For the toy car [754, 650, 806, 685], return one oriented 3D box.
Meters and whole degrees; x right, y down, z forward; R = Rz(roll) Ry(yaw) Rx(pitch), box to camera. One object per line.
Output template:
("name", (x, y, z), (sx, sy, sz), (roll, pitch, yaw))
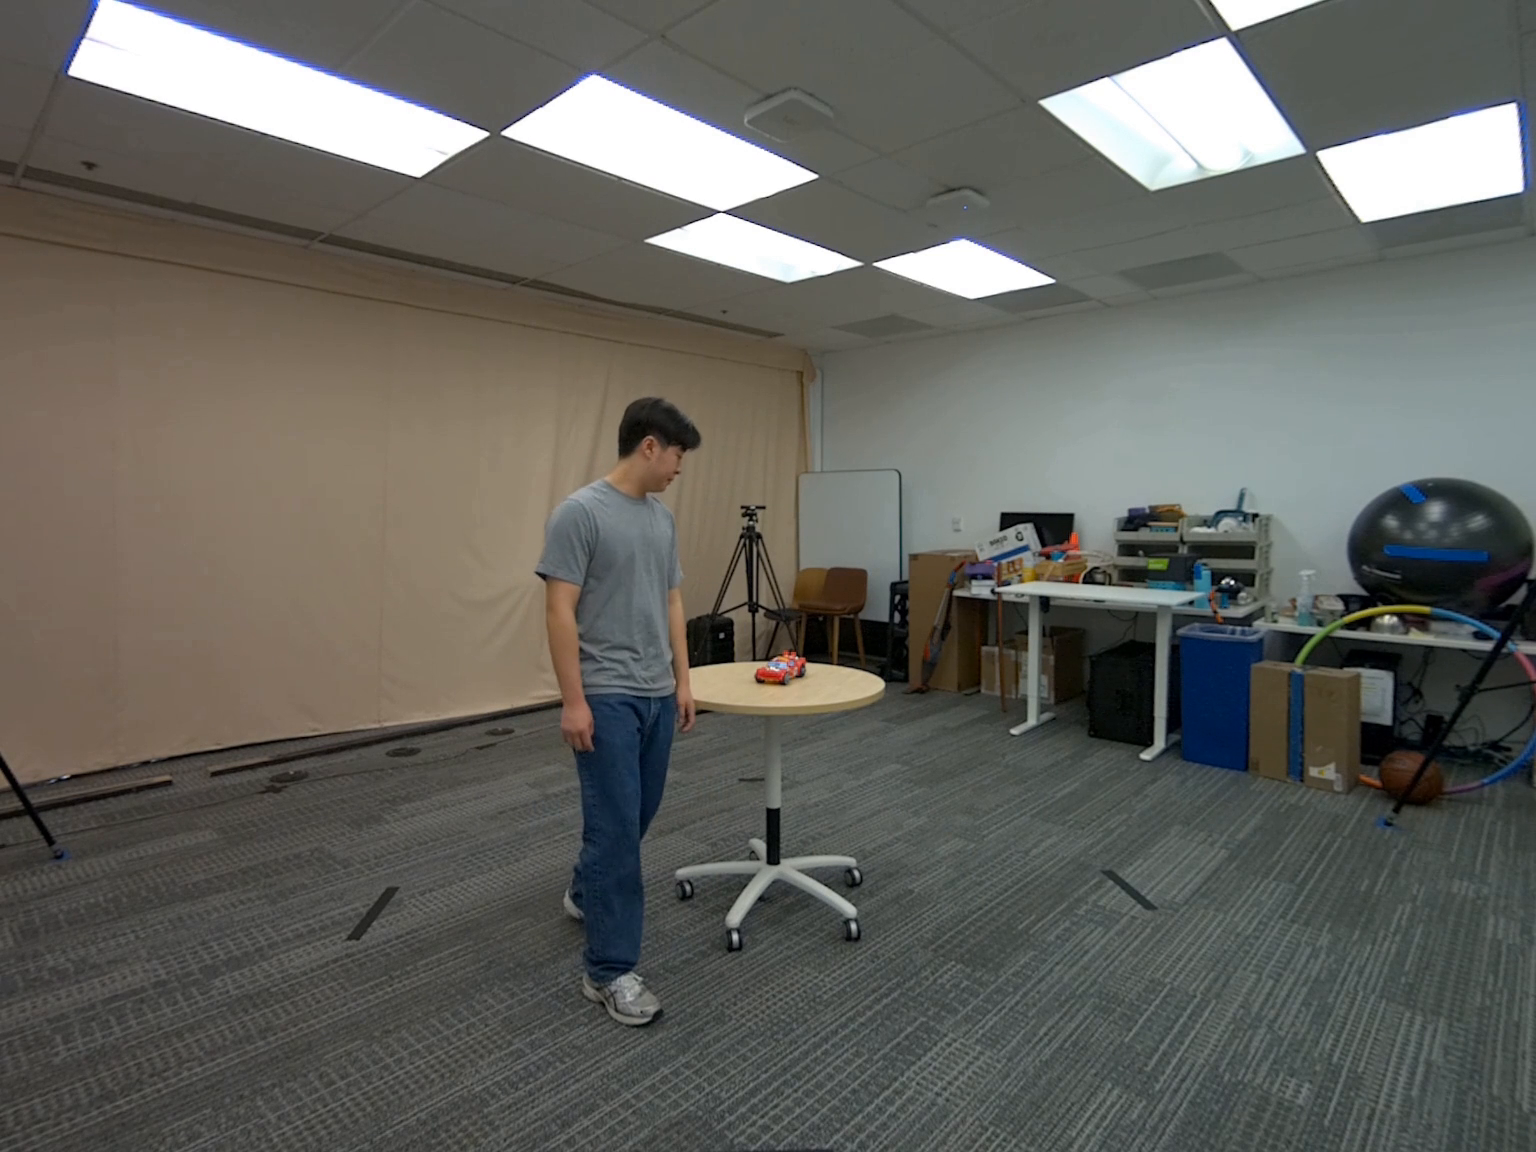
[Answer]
("toy car", (0.058, 0.330, 2.959), (0.134, 0.082, 0.250), (1, 16, 26))
